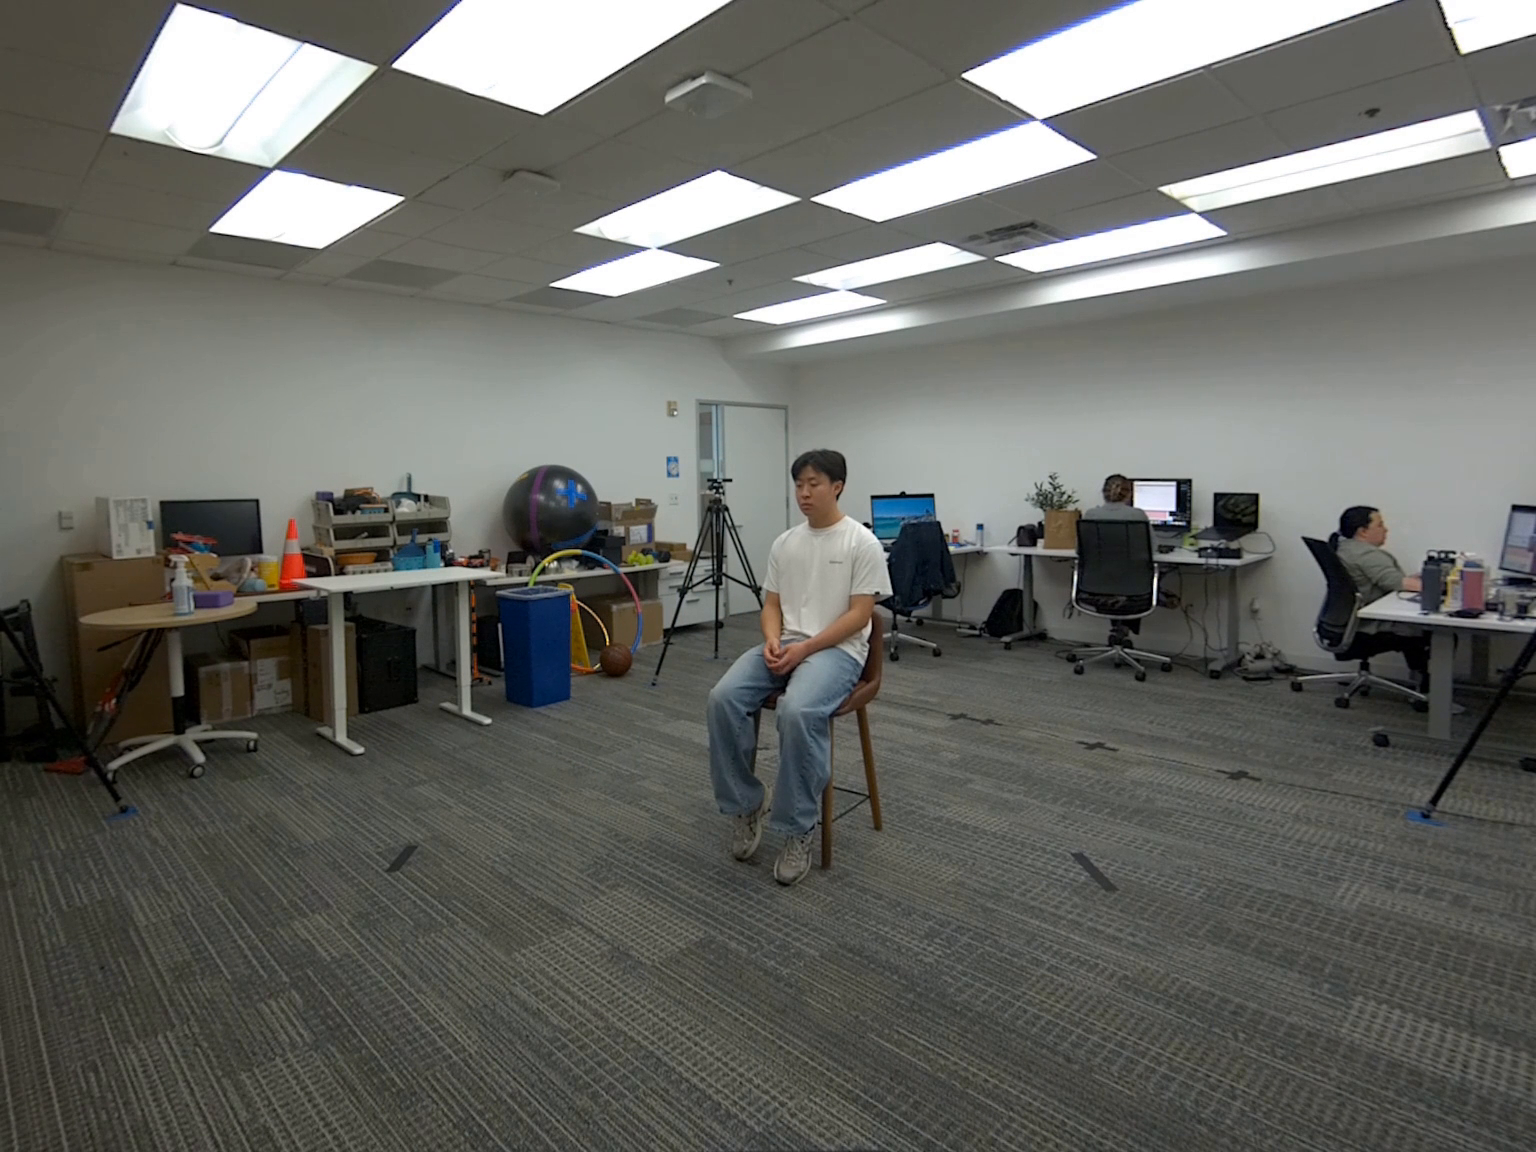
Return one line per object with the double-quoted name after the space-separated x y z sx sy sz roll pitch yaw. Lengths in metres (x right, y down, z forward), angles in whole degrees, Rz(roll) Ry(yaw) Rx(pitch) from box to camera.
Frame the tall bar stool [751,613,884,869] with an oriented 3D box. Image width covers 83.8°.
0.187 0.581 3.324 0.470 0.888 0.455 4 3 36 "tall bar stool"
